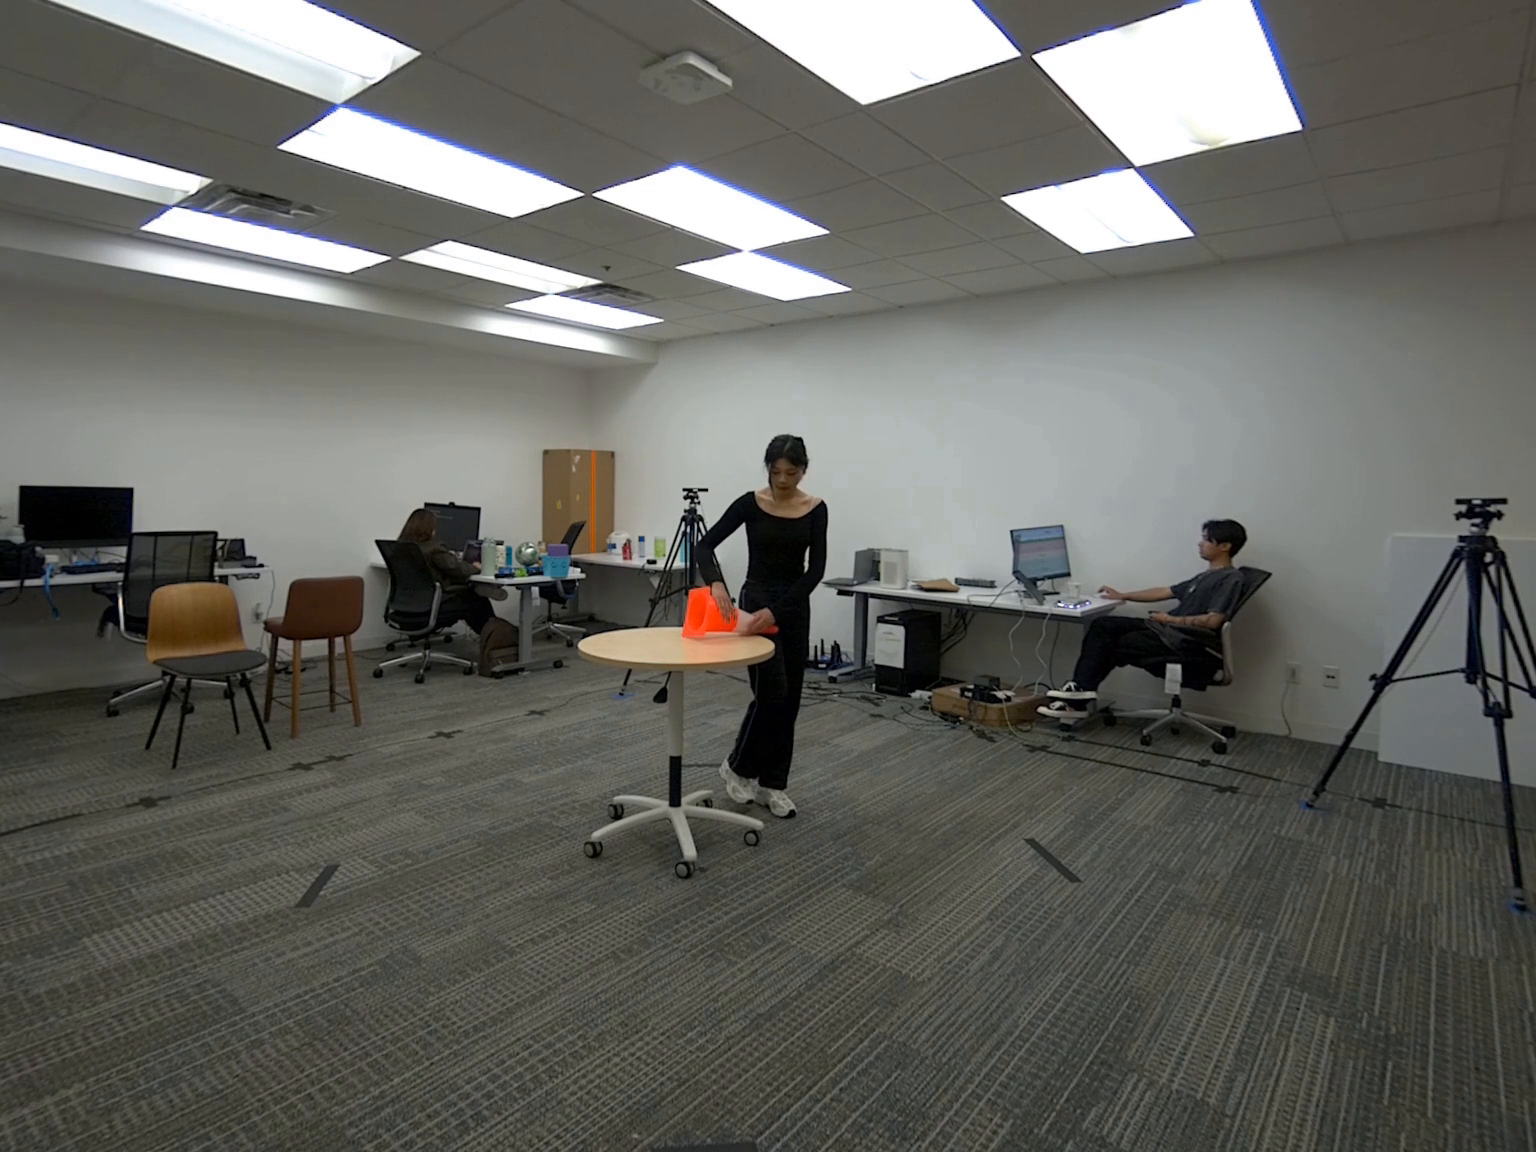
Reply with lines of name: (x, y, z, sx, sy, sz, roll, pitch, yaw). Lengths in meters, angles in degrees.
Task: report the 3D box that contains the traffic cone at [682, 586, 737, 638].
traffic cone: (-0.144, 0.186, 3.504, 0.373, 0.207, 0.207, 15, -11, -25)
